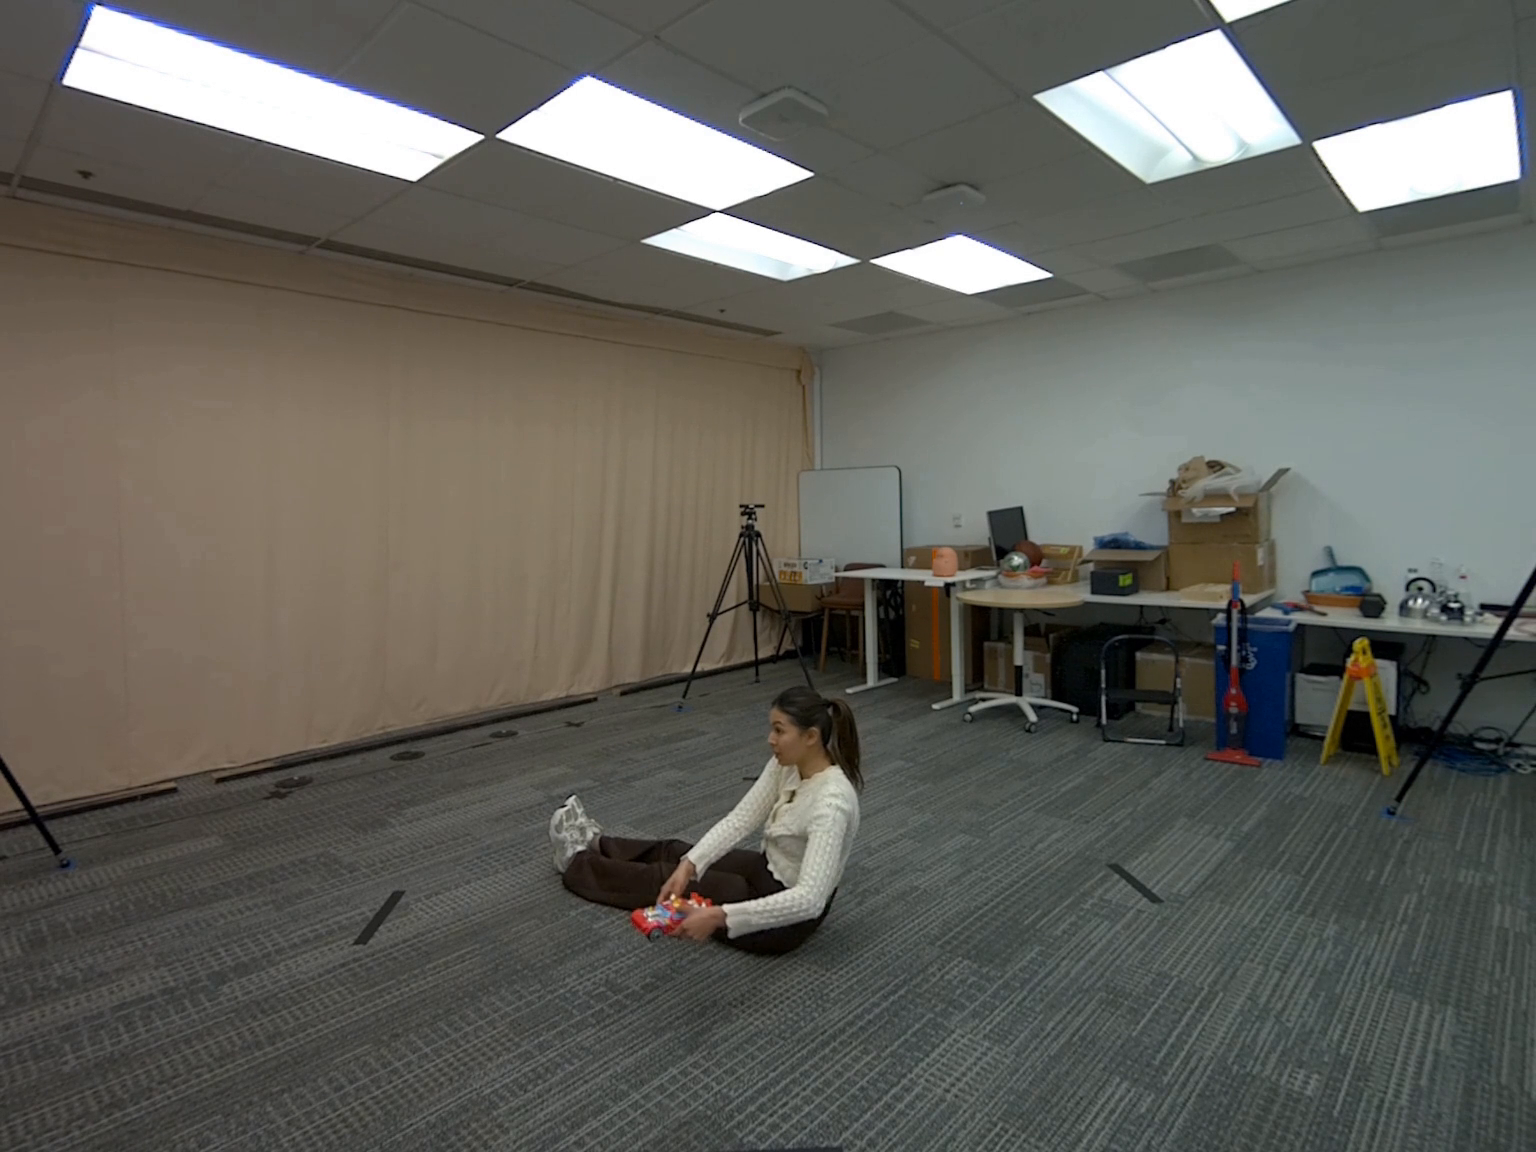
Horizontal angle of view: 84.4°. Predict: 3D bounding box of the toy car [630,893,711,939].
[{"bbox_3d":[-0.252,0.956,2.354,0.248,0.083,0.134,-6,7,-31],"label":"toy car"}]
